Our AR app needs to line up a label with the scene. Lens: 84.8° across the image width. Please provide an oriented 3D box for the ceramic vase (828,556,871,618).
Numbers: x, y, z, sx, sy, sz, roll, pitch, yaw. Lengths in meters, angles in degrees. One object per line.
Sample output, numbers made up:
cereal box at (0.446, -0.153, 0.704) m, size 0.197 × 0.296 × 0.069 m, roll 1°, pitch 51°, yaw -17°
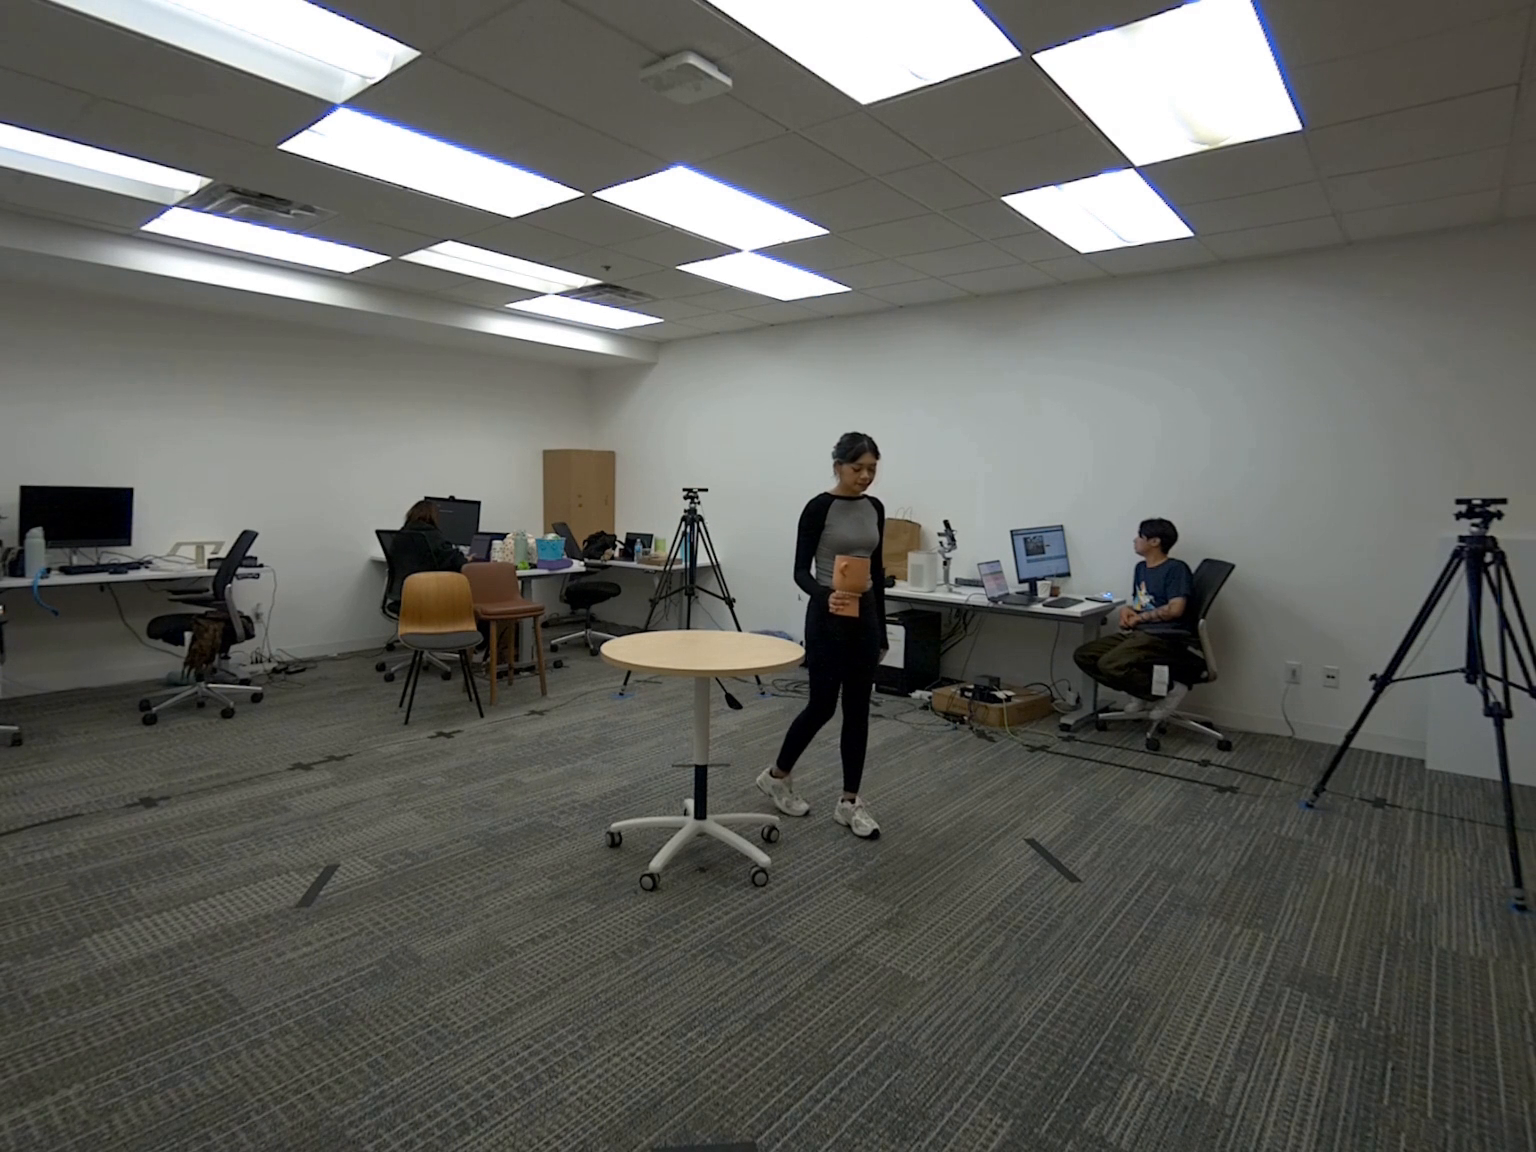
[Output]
ceramic vase at (0.297, 0.034, 3.232) m, size 0.155 × 0.220 × 0.137 m, roll 8°, pitch -2°, yaw -21°
